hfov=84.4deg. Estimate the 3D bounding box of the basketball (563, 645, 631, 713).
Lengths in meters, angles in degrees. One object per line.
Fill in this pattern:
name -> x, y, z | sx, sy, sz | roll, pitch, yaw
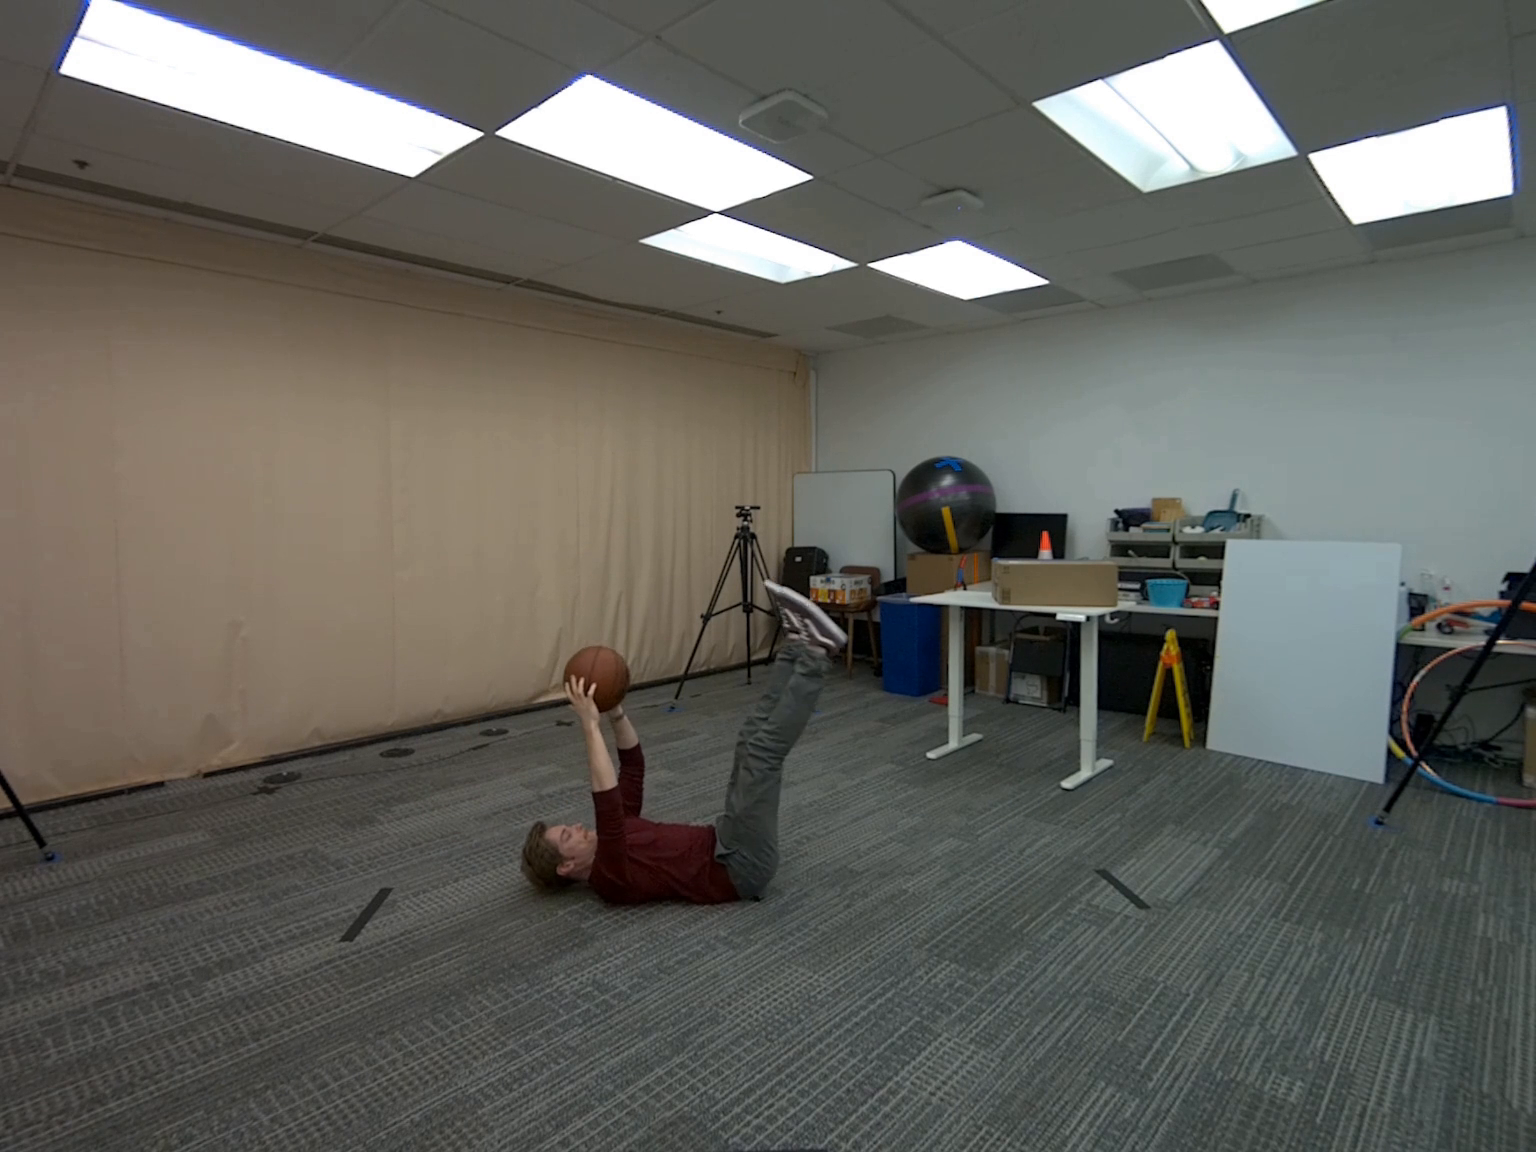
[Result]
basketball -> -0.615, 0.374, 3.005 | 0.236, 0.235, 0.237 | 0, 4, -2
